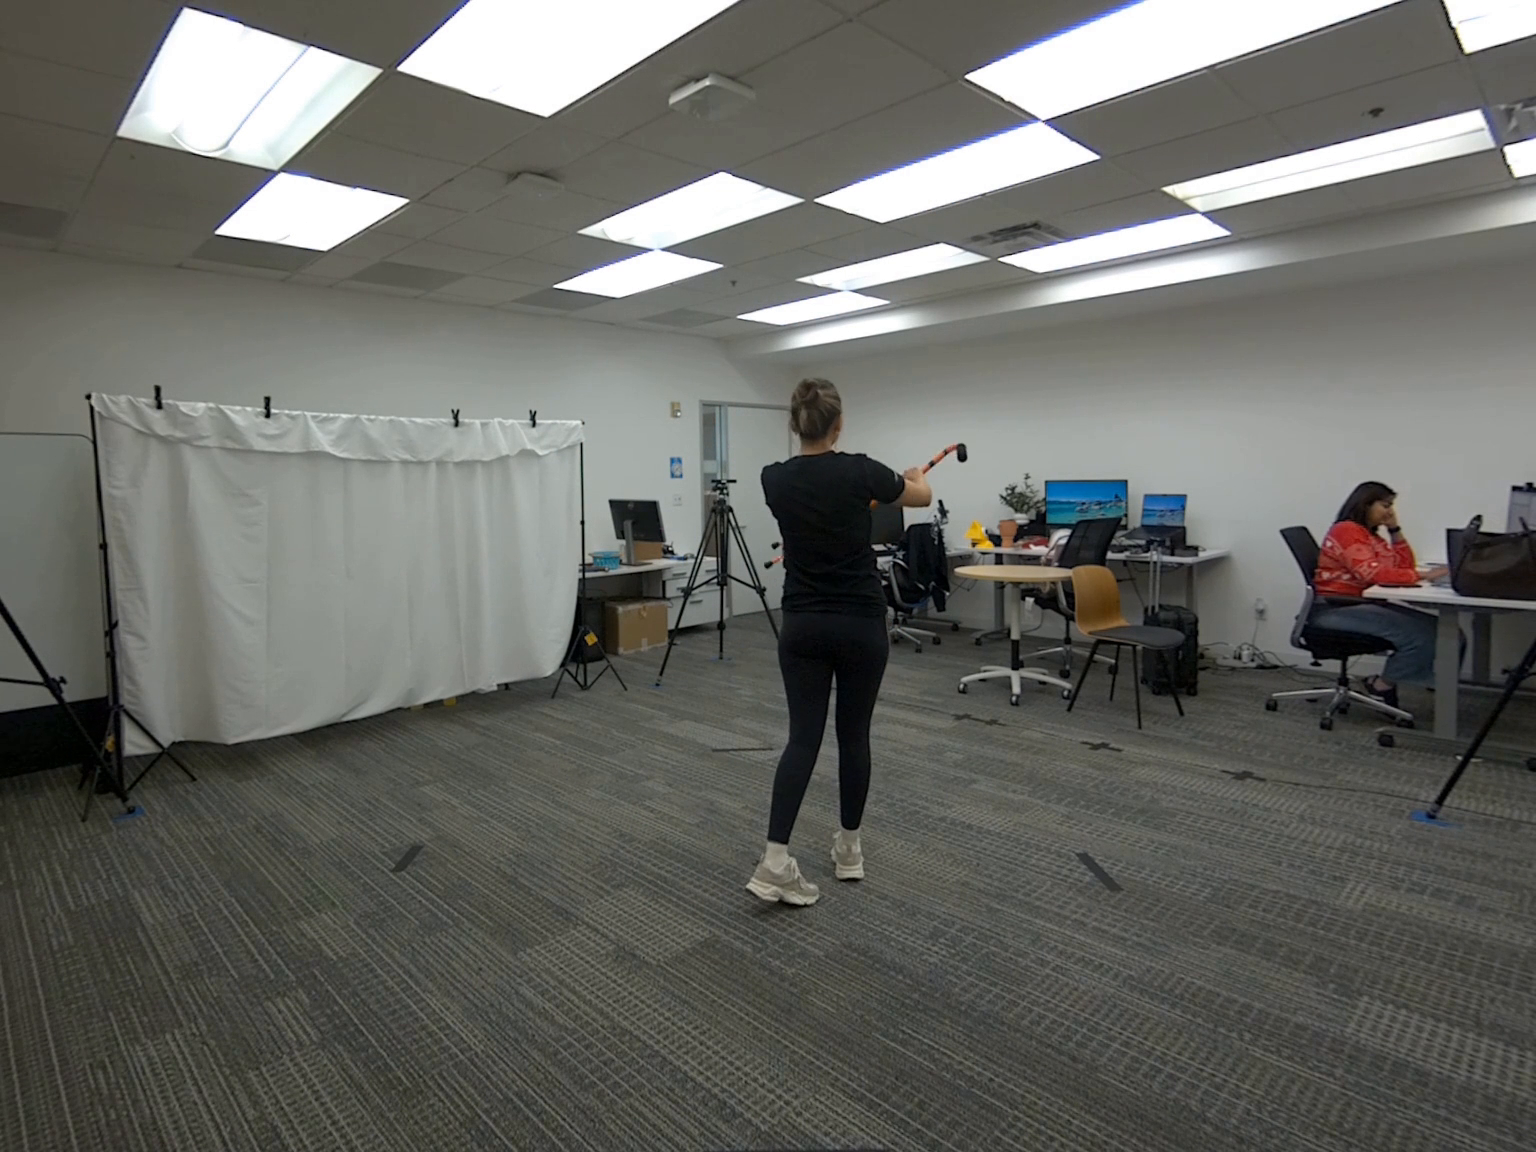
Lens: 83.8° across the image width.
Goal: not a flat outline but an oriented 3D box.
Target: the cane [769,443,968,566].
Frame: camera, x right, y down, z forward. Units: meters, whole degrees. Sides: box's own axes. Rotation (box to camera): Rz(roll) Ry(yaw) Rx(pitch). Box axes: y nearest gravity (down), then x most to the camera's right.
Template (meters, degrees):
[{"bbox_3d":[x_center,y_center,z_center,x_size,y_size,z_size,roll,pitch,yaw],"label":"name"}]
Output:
[{"bbox_3d":[0.401,-0.256,3.386,0.915,0.149,0.208,-32,16,27],"label":"cane"}]
